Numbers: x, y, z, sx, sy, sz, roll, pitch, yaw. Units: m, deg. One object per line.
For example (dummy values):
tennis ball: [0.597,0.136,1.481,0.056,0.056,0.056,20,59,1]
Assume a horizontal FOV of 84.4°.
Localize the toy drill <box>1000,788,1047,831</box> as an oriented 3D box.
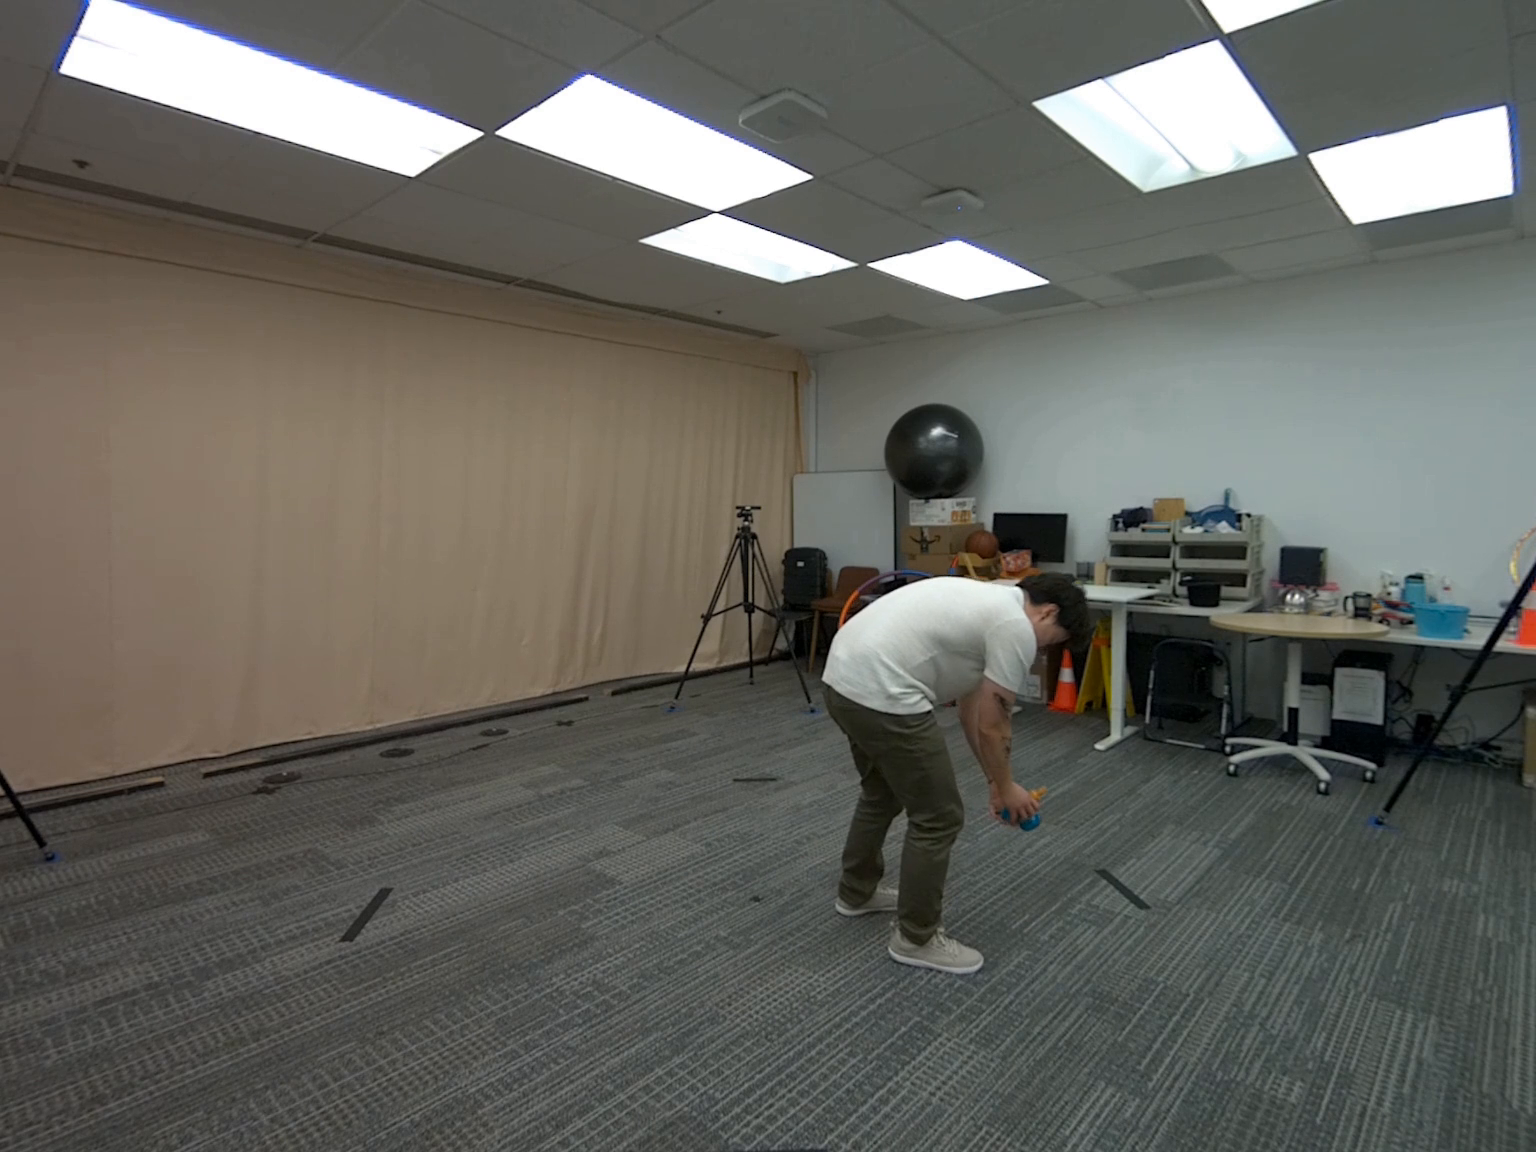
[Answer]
toy drill: [0.829,0.733,2.629,0.142,0.171,0.062,41,19,-28]
